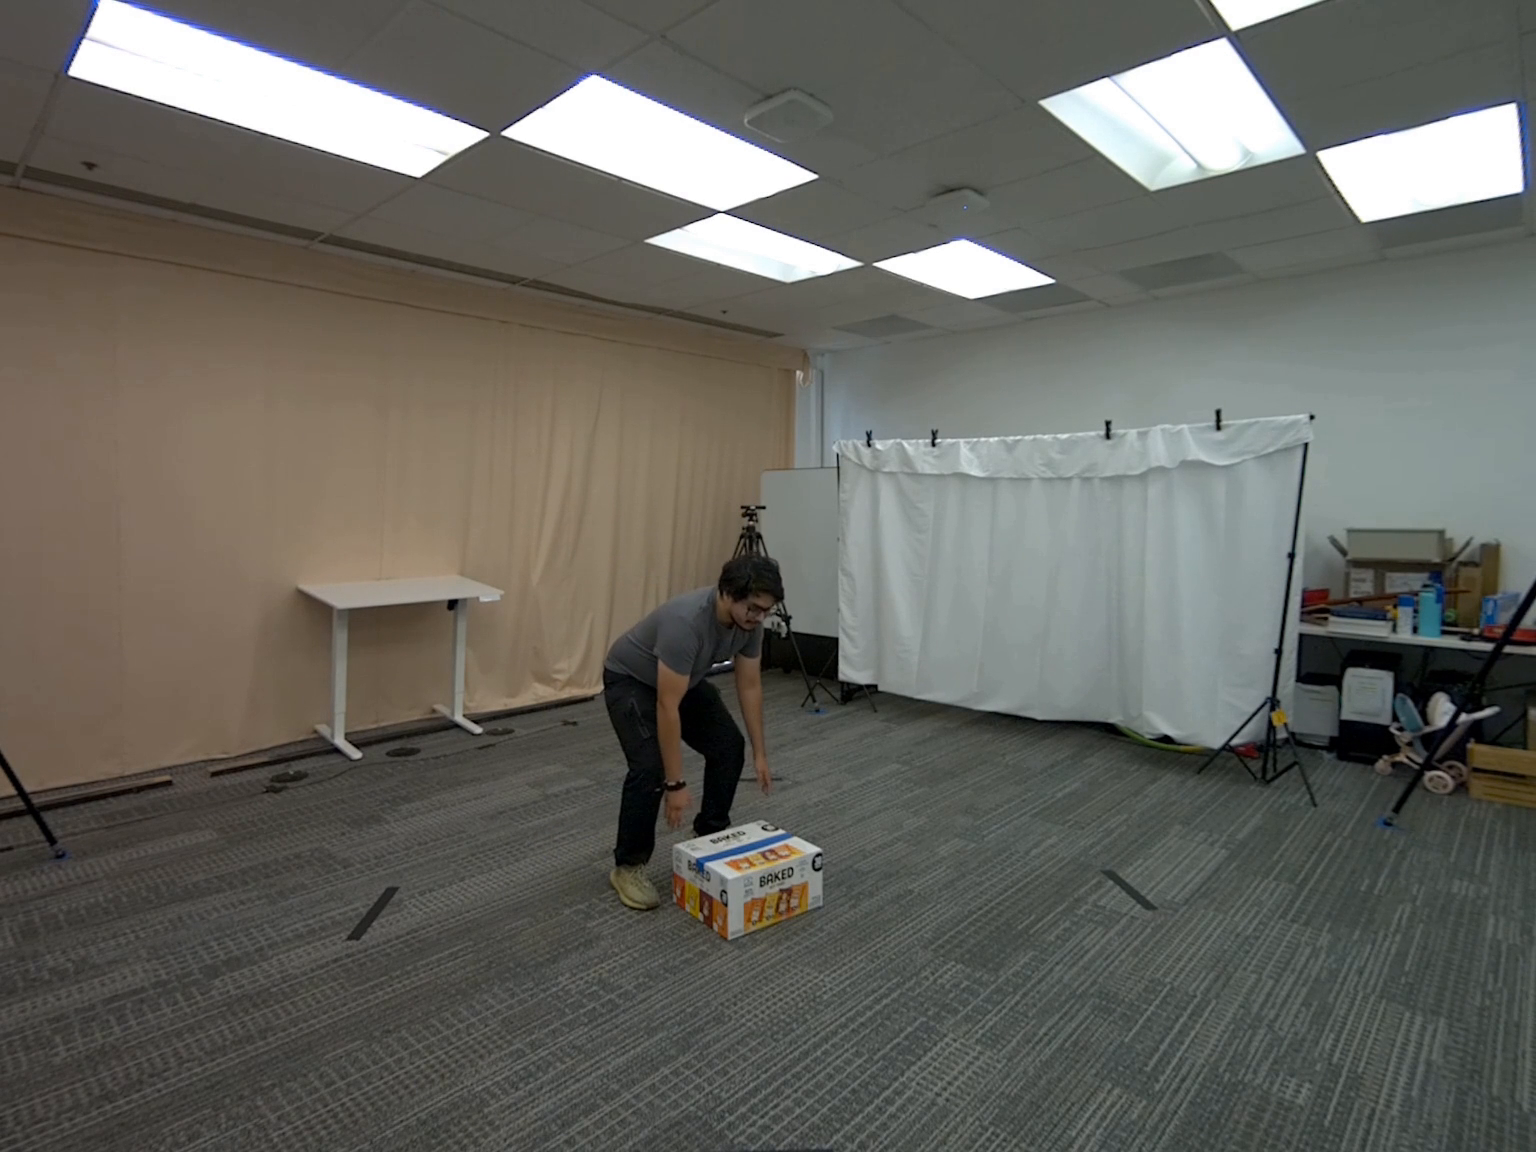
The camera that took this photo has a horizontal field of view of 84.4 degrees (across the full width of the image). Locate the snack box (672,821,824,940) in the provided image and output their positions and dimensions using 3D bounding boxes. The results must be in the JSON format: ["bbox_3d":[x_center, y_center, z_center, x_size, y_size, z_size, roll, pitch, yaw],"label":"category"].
[{"bbox_3d":[-0.068,1.047,2.936,0.393,0.205,0.351,-4,6,-36],"label":"snack box"}]
